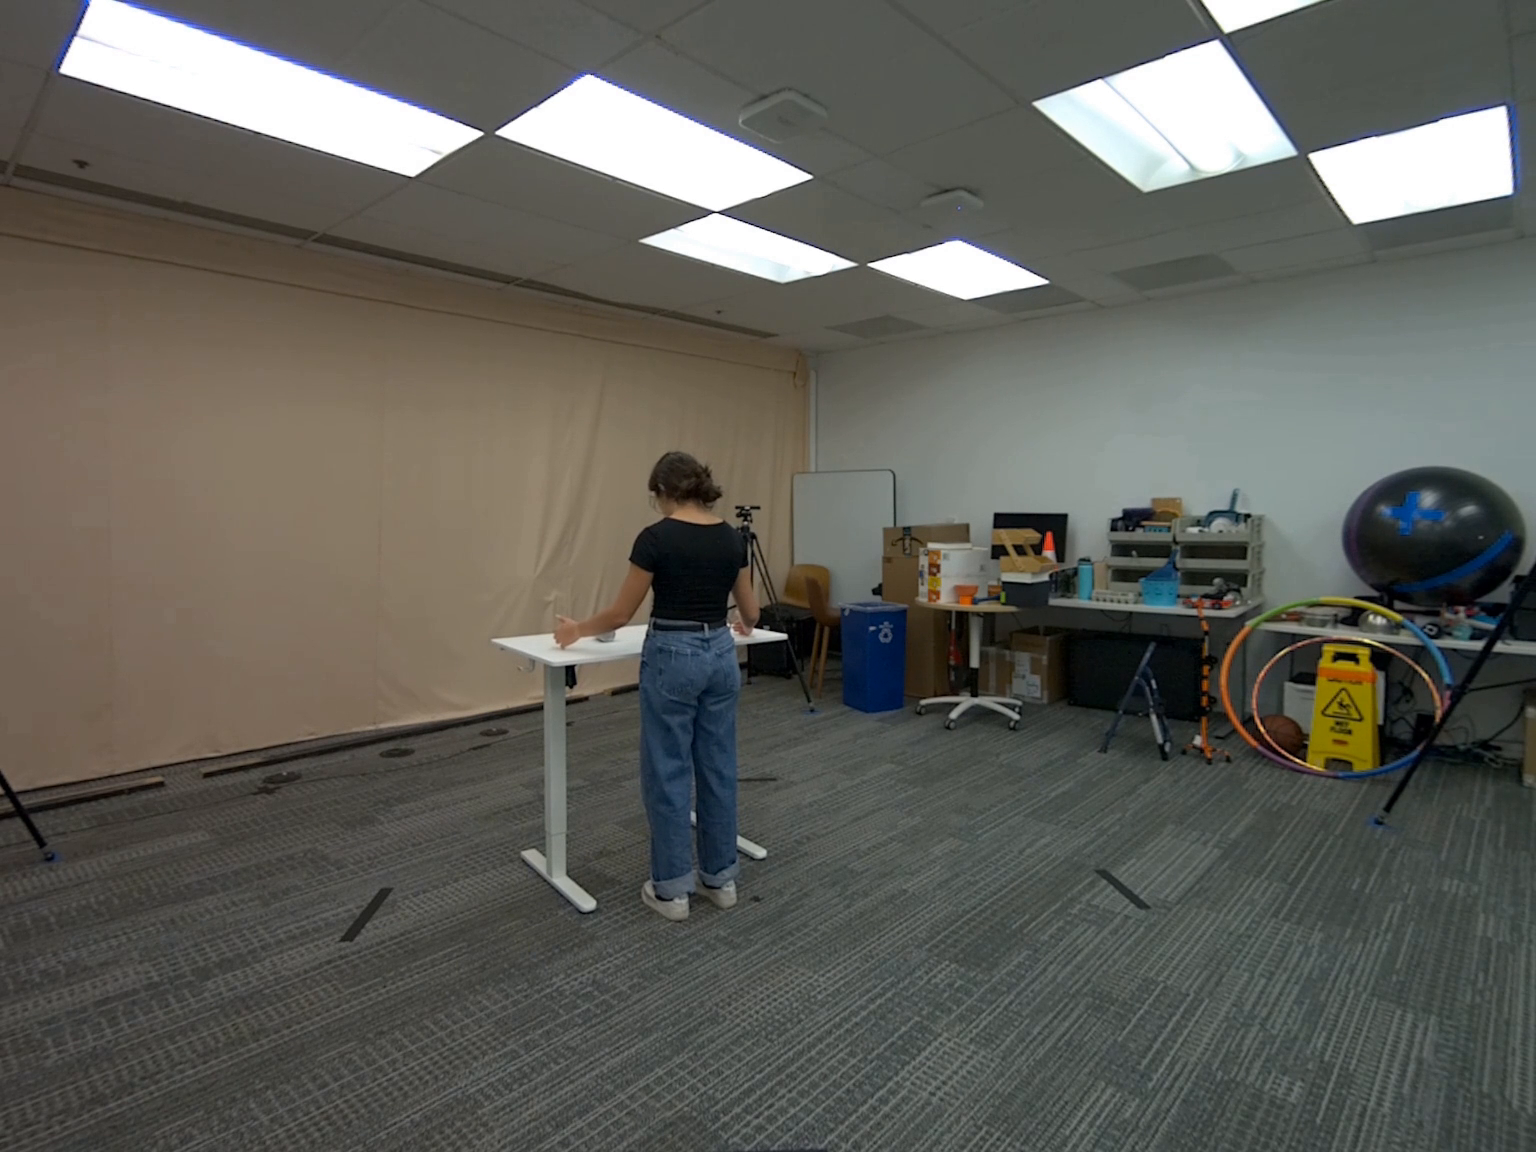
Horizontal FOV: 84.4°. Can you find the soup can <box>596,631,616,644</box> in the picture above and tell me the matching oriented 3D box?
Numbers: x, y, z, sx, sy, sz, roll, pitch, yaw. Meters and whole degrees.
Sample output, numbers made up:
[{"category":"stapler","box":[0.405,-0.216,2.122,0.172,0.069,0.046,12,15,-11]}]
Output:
[{"category":"soup can","box":[-0.625,0.216,3.232,0.066,0.067,0.124,-2,6,-23]}]
